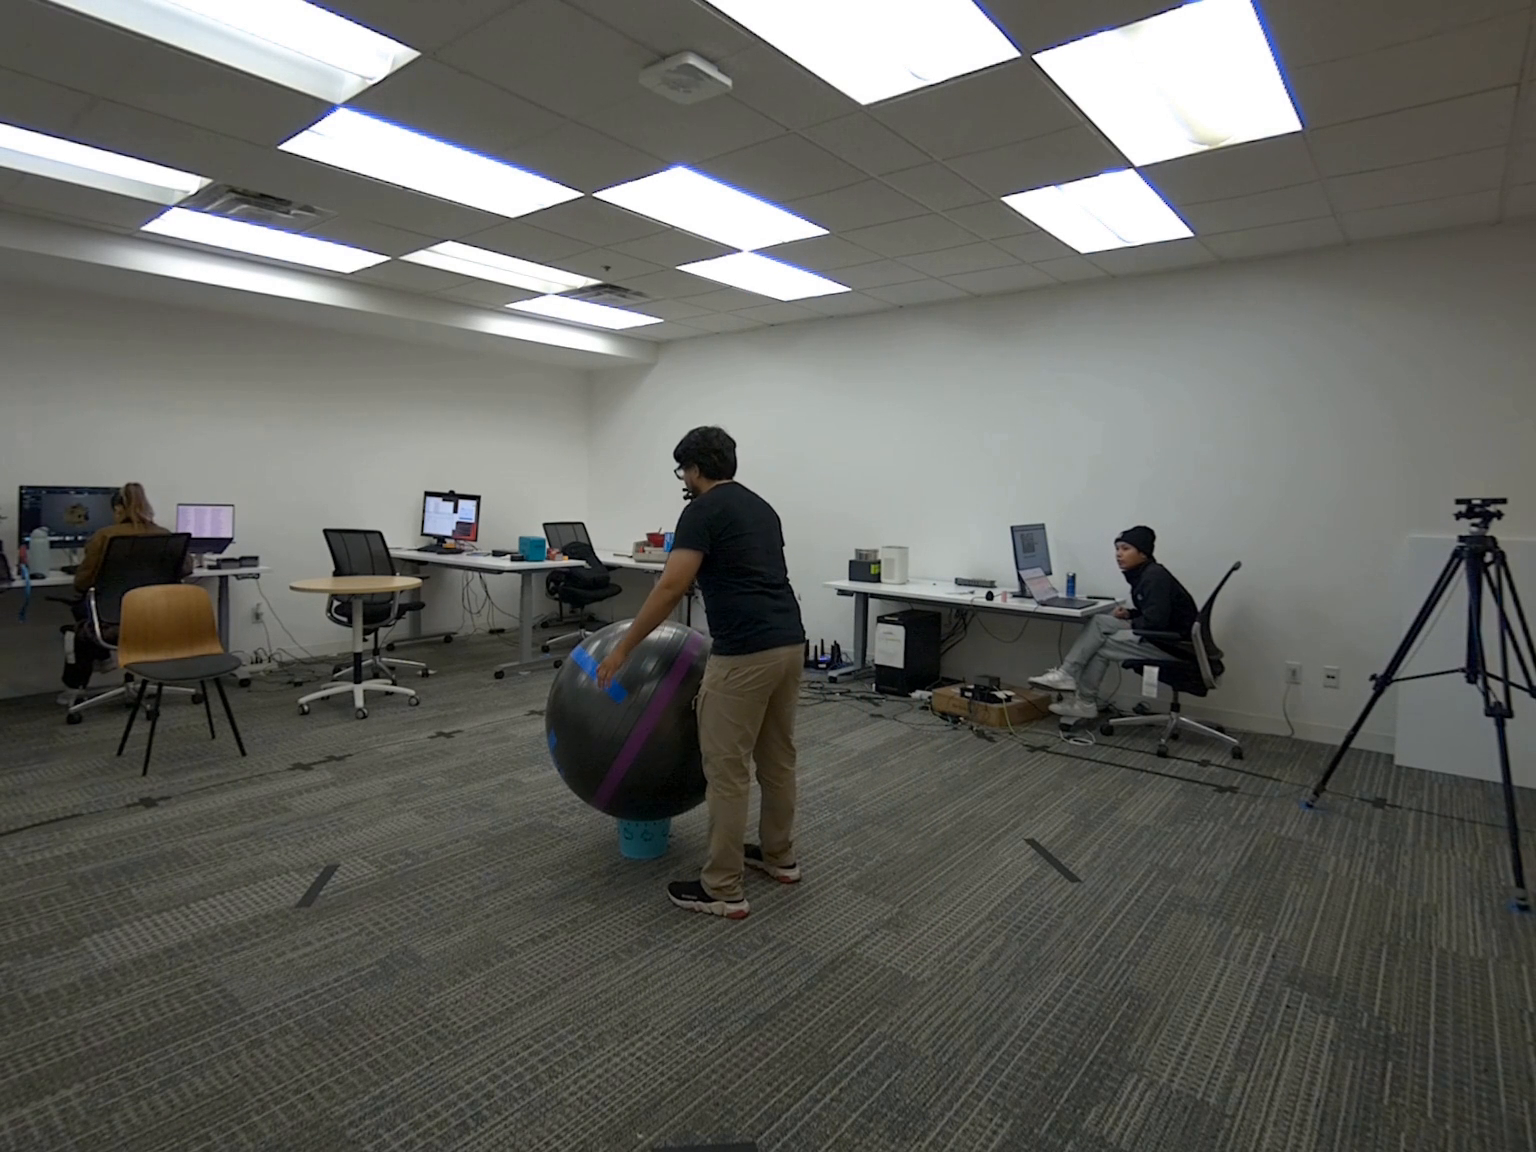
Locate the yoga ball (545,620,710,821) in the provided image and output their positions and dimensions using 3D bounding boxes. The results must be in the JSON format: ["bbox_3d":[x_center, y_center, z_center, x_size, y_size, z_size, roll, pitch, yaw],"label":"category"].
[{"bbox_3d":[-0.482,0.545,3.254,0.757,0.756,0.761,1,4,-2],"label":"yoga ball"}]
